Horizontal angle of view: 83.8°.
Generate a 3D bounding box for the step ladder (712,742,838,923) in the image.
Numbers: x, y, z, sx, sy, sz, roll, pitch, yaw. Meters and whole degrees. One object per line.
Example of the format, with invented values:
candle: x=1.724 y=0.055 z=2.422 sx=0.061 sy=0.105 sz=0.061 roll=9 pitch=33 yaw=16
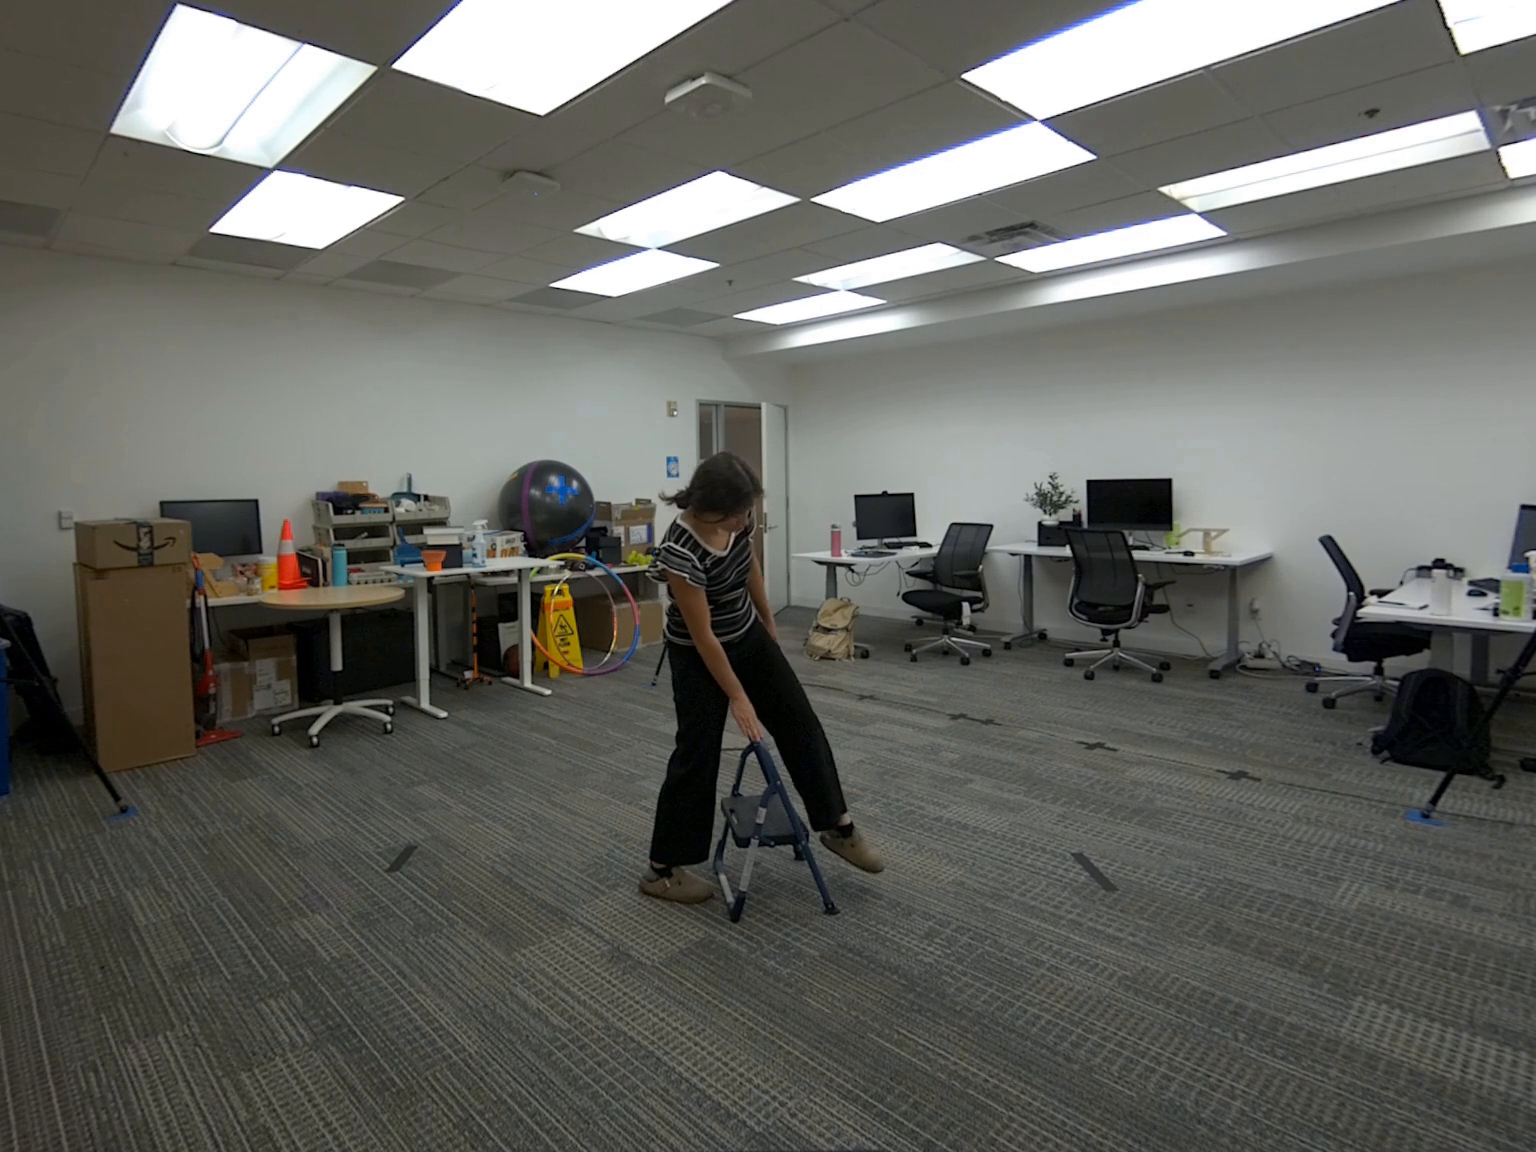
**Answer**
step ladder: x=0.007 y=0.766 z=2.900 sx=0.346 sy=0.604 sz=0.437 roll=-2 pitch=4 yaw=-11
